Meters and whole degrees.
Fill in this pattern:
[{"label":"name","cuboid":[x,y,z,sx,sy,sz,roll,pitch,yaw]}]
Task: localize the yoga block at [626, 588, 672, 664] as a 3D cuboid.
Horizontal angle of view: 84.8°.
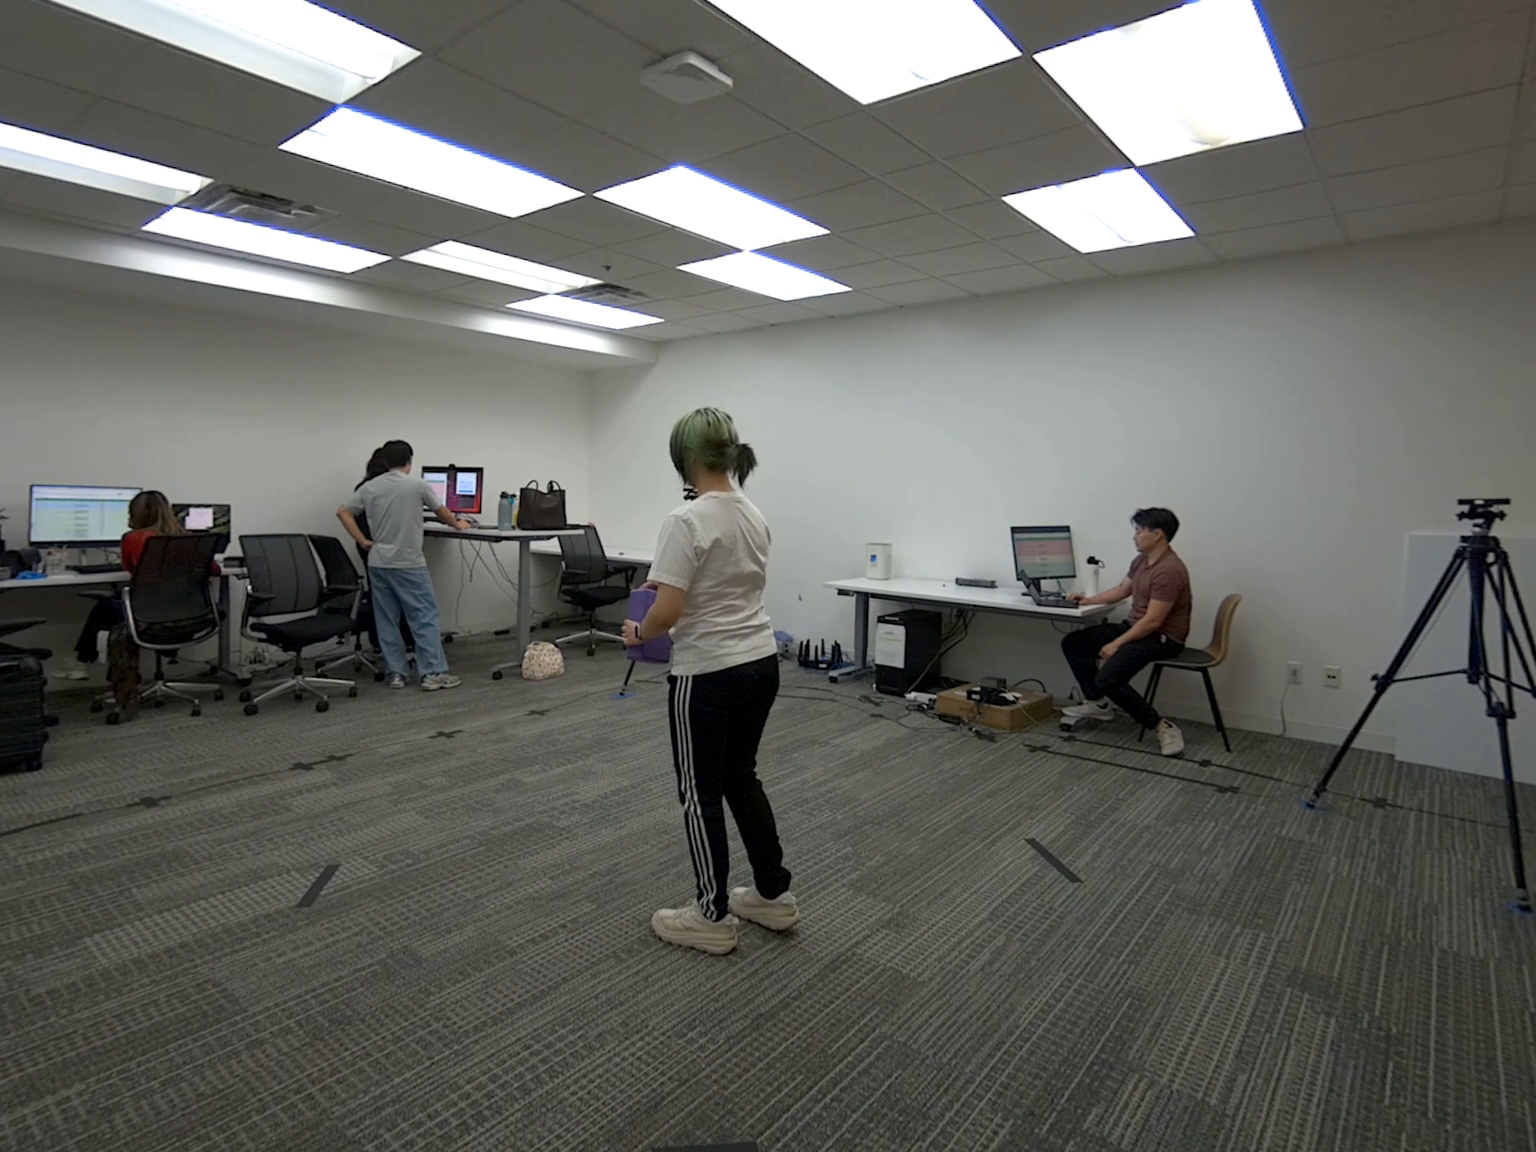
[{"label":"yoga block","cuboid":[-0.392,0.173,2.800,0.078,0.232,0.143,-5,-14,33]}]
